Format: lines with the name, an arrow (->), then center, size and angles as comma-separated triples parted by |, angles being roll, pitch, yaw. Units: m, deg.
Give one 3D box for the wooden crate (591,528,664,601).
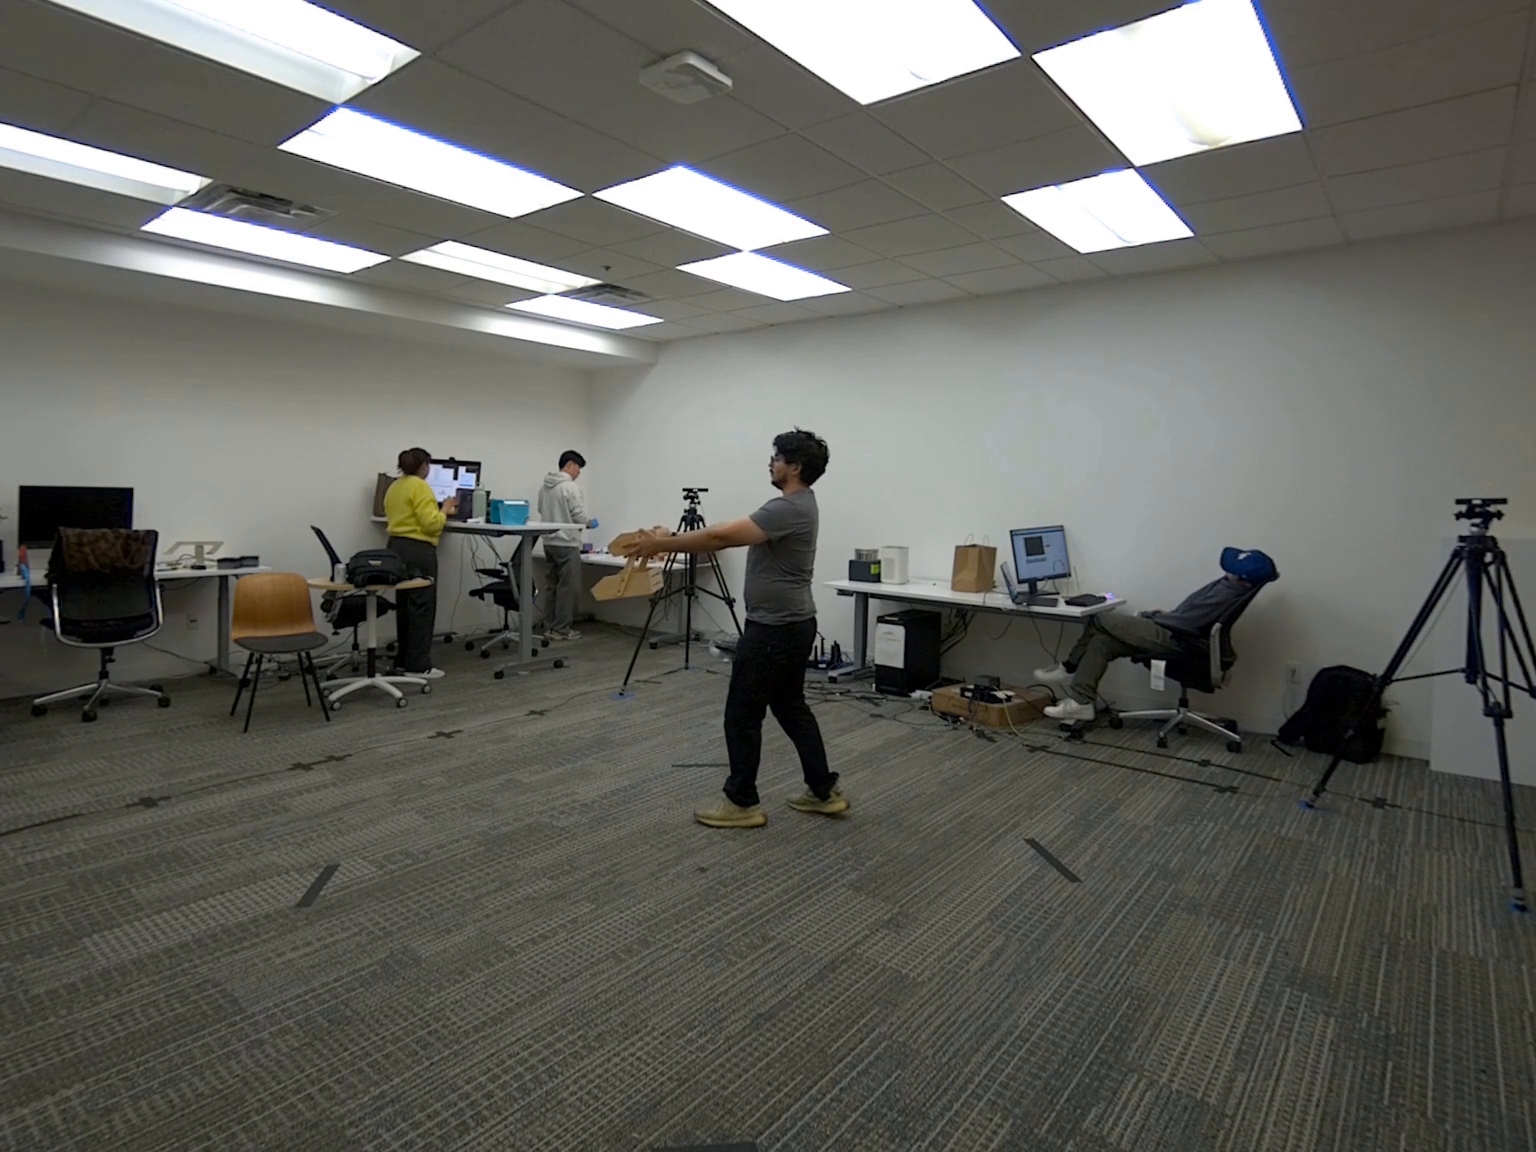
wooden crate -> -0.605, -0.066, 3.652 | 0.303, 0.273, 0.324 | -6, 3, 3
